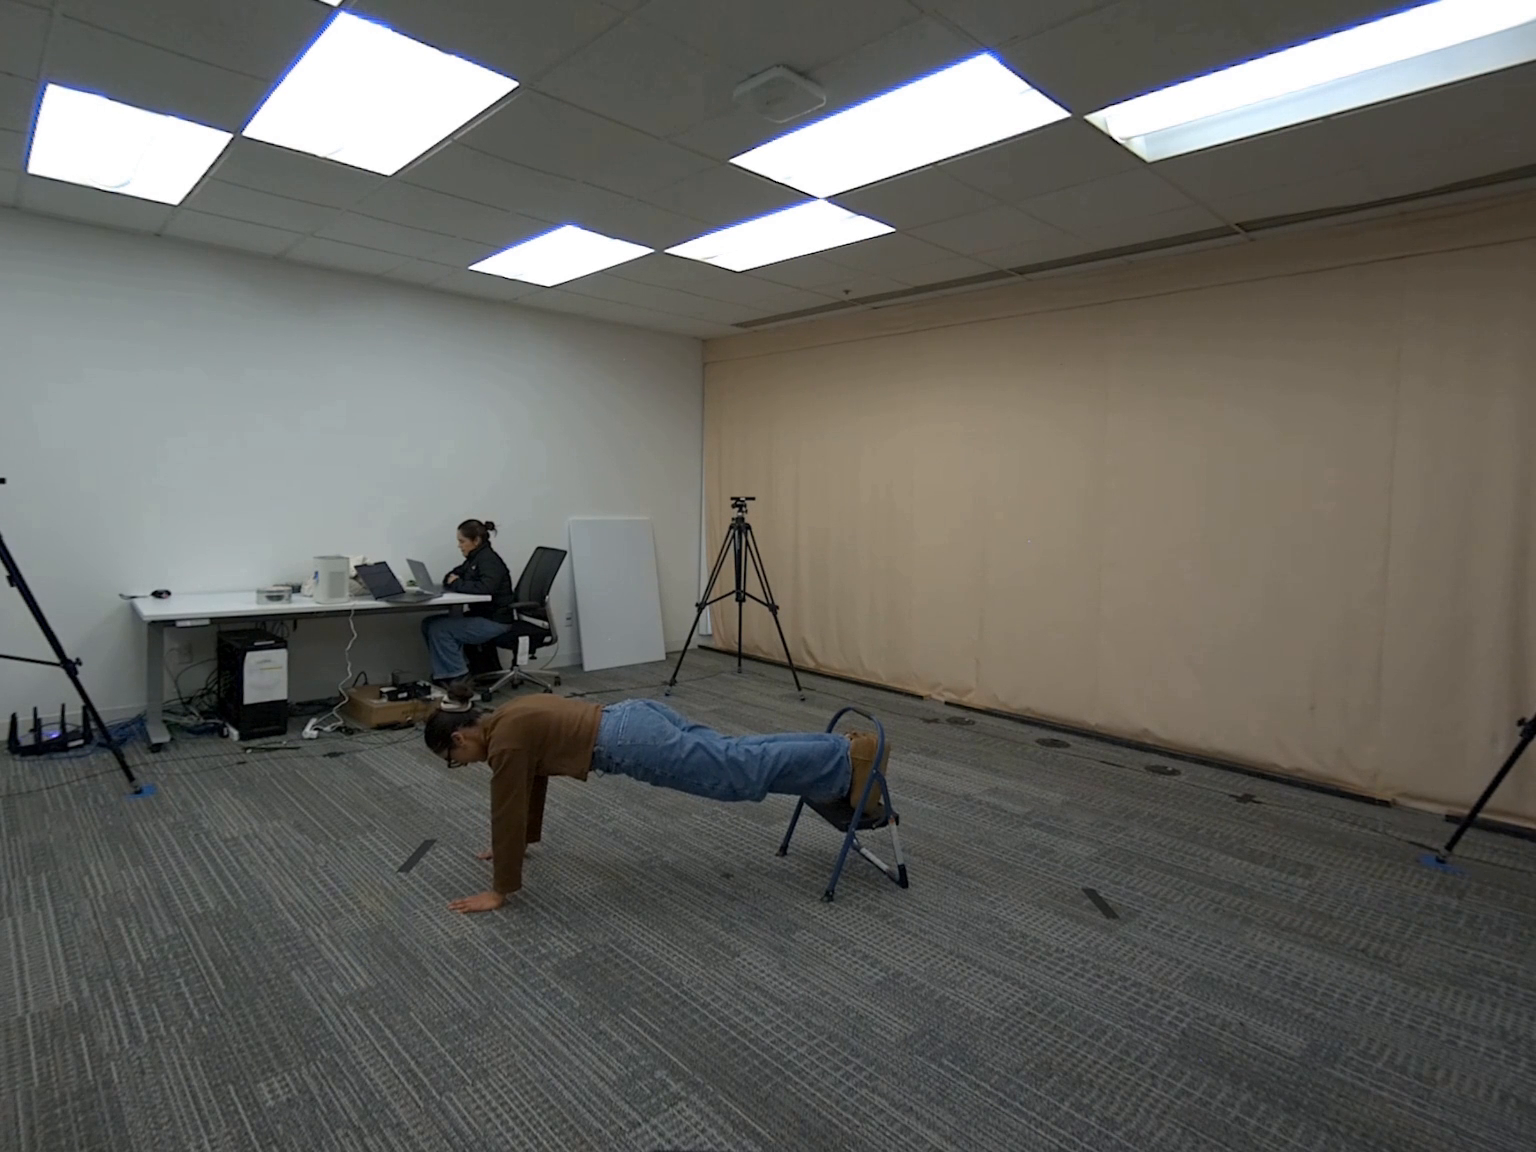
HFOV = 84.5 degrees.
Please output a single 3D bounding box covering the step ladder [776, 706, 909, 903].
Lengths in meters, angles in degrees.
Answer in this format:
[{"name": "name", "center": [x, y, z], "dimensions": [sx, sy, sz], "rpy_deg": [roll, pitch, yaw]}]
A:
[{"name": "step ladder", "center": [0.276, 0.813, 3.155], "dimensions": [0.343, 0.605, 0.439], "rpy_deg": [0, 4, -23]}]
